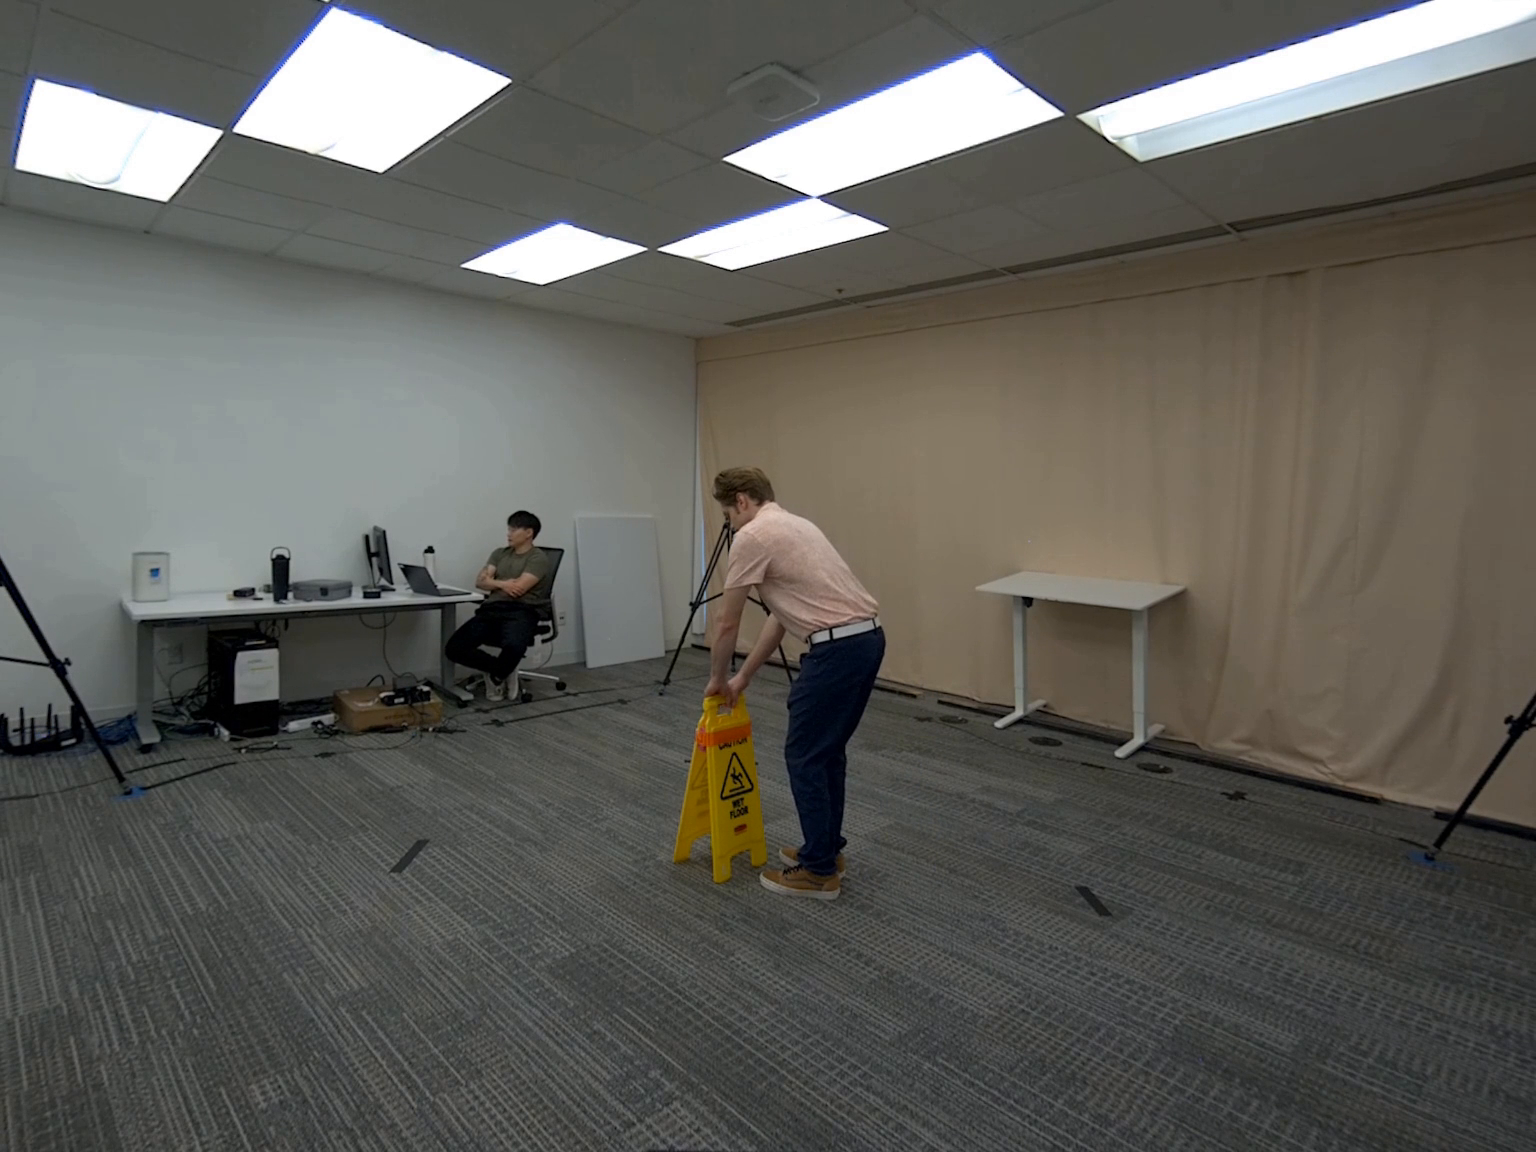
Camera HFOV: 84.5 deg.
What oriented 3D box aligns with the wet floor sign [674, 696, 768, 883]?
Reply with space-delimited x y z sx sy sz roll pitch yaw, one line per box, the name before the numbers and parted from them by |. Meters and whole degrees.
wet floor sign | -0.181 0.766 3.191 0.297 0.645 0.276 4 3 45
